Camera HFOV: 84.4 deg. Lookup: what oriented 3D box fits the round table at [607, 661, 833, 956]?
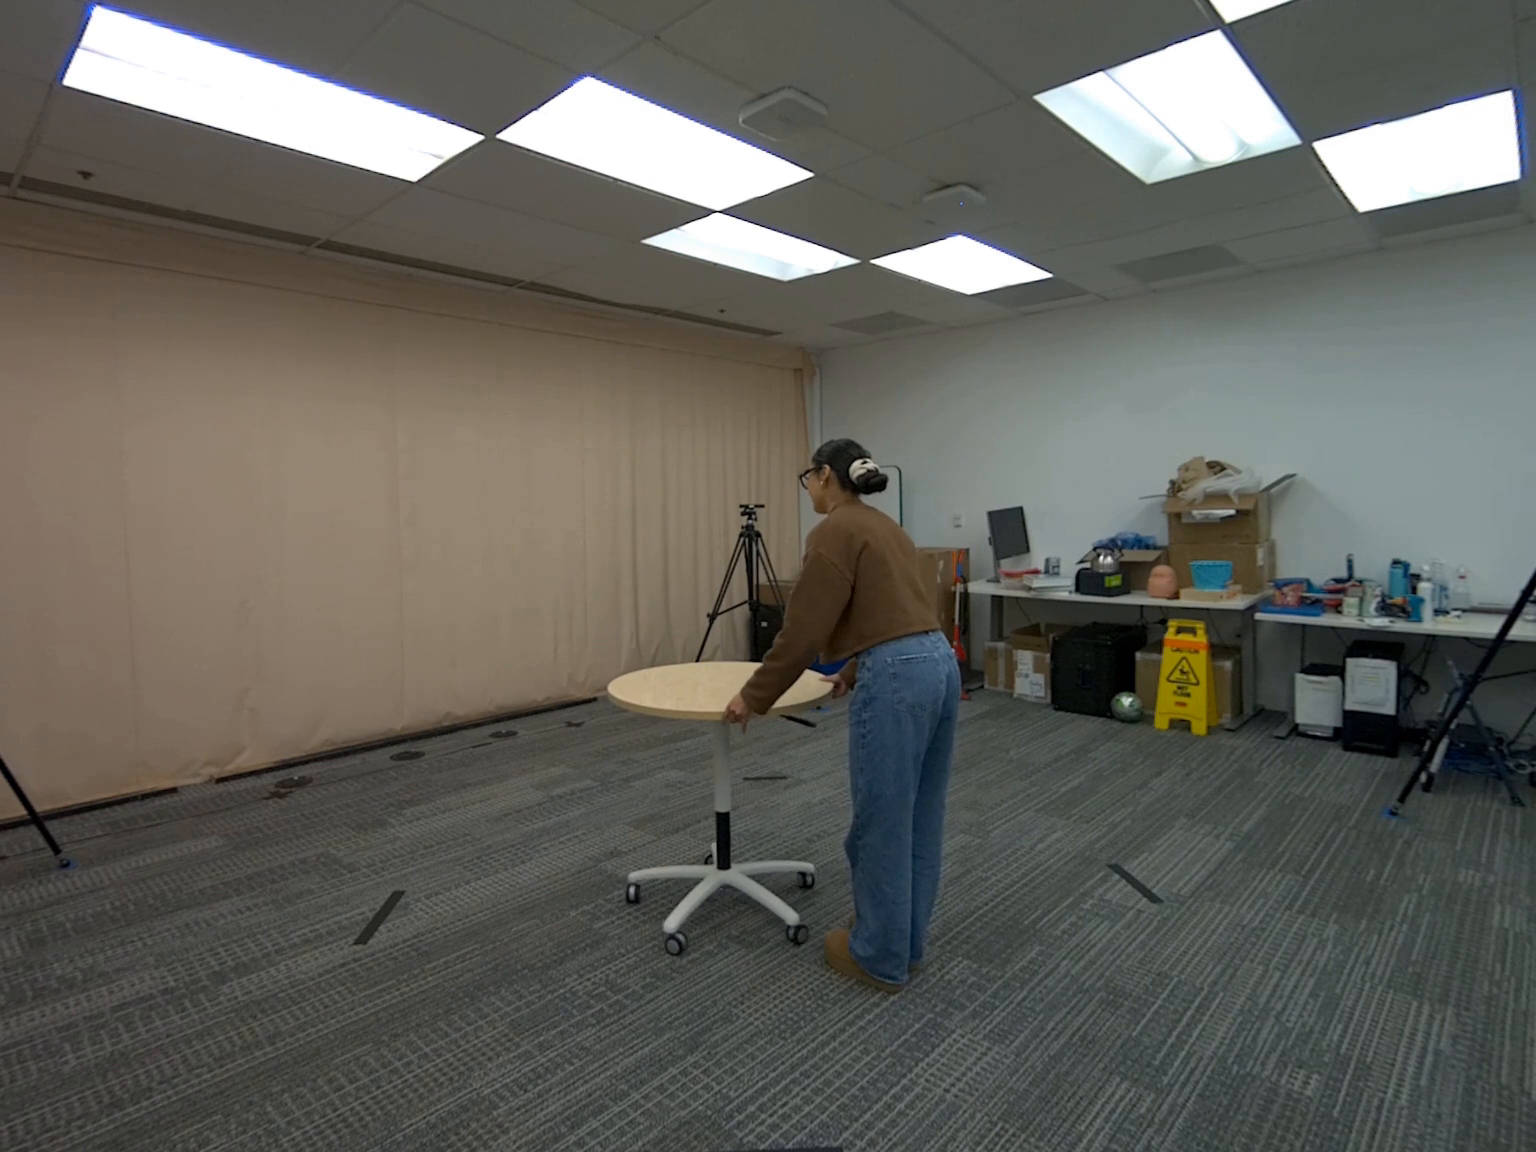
[{"bbox_3d":[-0.156,0.761,2.895,0.763,0.792,0.767,-1,4,-2],"label":"round table"}]
